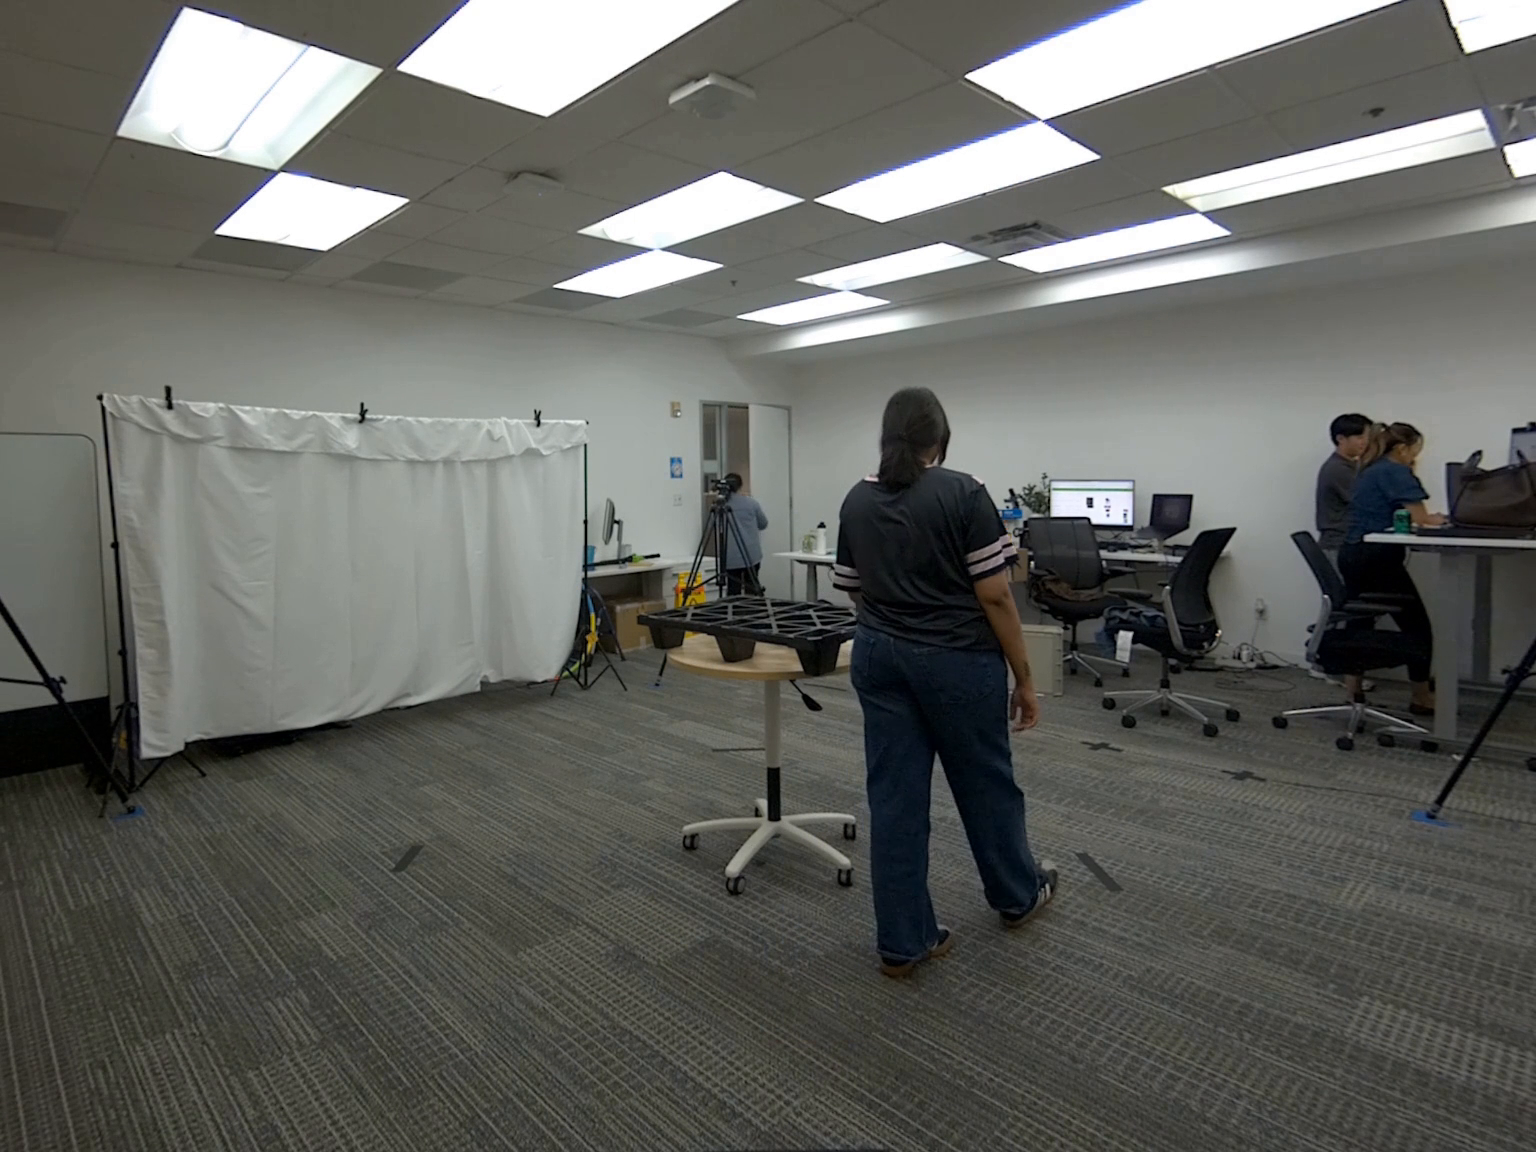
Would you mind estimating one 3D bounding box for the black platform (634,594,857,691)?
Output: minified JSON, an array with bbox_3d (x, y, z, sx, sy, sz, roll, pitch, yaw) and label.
[{"bbox_3d":[0.022,0.208,3.051,0.830,0.142,0.590,5,10,41],"label":"black platform"}]
